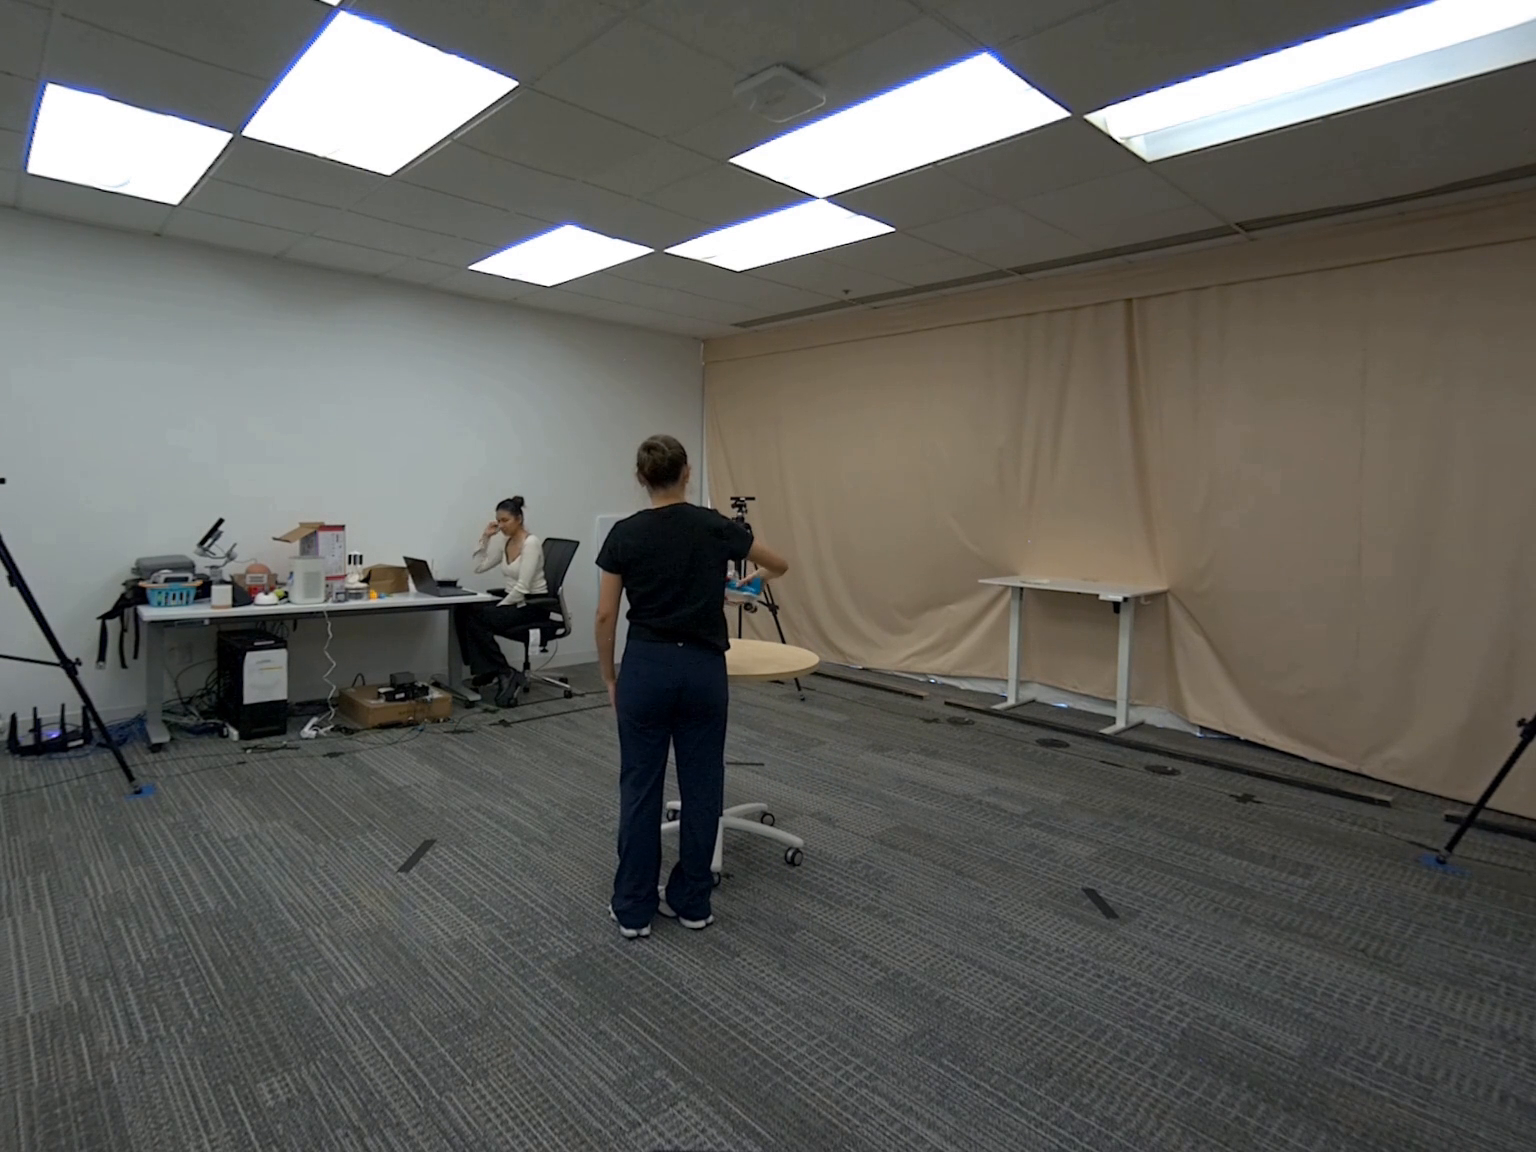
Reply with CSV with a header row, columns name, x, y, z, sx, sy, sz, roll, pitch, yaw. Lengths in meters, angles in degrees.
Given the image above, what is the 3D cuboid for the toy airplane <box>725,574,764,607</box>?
name,x,y,z,sx,sy,sz,roll,pitch,yaw
toy airplane,-0.142,0.063,3.097,0.260,0.158,0.248,2,-14,3
